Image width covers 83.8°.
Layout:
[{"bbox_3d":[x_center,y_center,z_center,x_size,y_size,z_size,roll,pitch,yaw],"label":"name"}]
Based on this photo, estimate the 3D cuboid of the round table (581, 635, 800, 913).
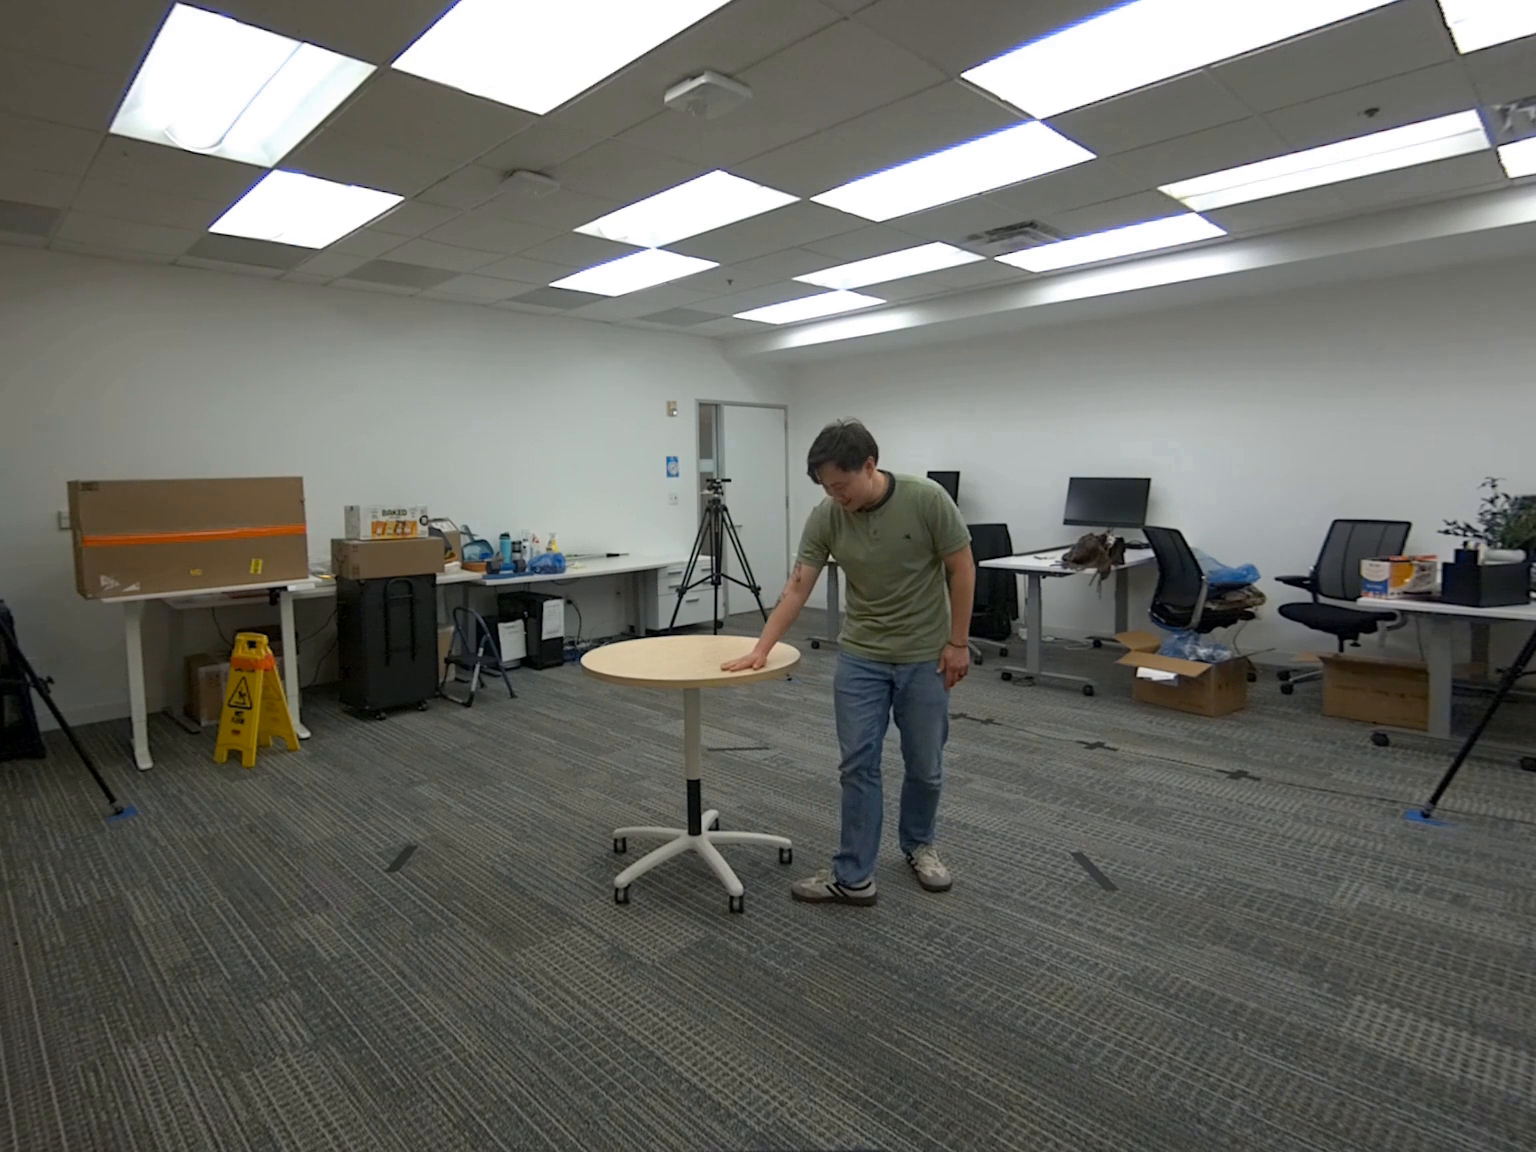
[{"bbox_3d":[-0.262,0.669,3.023,0.763,0.791,0.768,-1,5,-2],"label":"round table"}]
